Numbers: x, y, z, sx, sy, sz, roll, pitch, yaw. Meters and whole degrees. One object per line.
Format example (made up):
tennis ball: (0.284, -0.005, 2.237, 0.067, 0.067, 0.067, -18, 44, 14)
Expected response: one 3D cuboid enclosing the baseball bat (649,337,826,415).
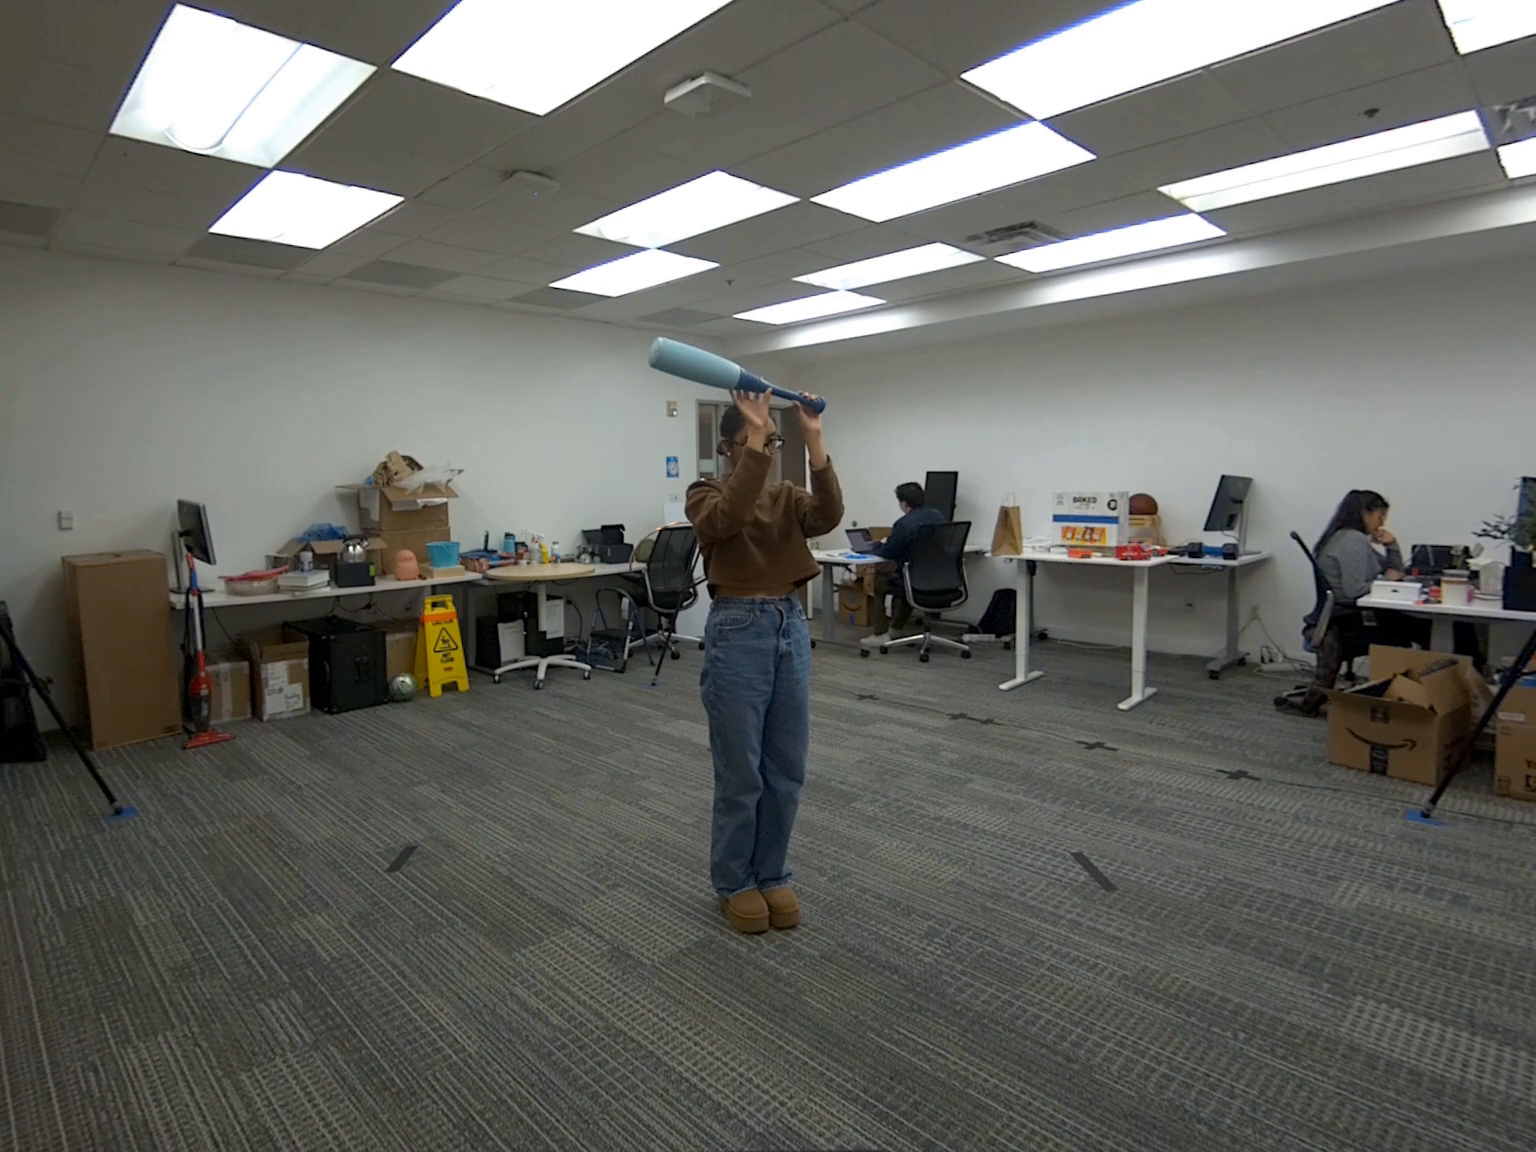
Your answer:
baseball bat: (-0.068, -0.550, 2.387, 0.529, 0.089, 0.091, 12, -2, -26)
